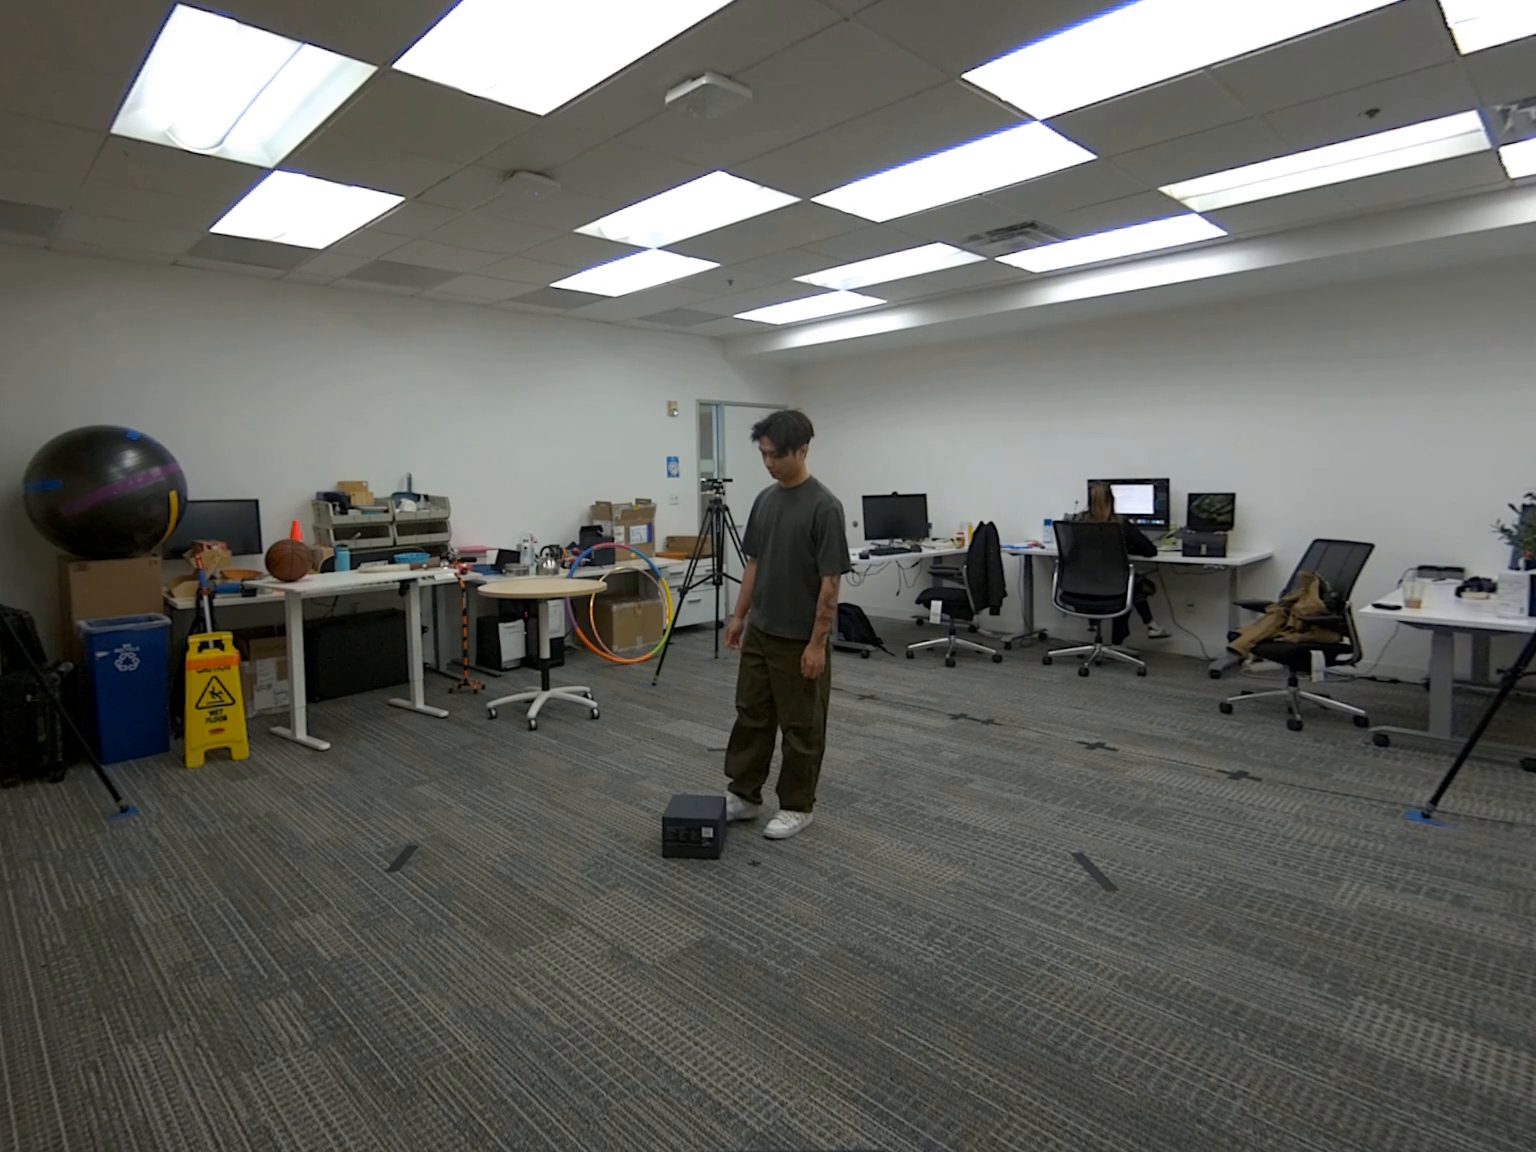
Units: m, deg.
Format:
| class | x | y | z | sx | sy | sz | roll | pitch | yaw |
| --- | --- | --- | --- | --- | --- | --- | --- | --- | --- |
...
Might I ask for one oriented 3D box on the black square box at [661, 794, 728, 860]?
| class | x | y | z | sx | sy | sz | roll | pitch | yaw |
| --- | --- | --- | --- | --- | --- | --- | --- | --- | --- |
| black square box | -0.275 | 0.948 | 3.253 | 0.218 | 0.155 | 0.227 | 0 | 6 | 5 |
